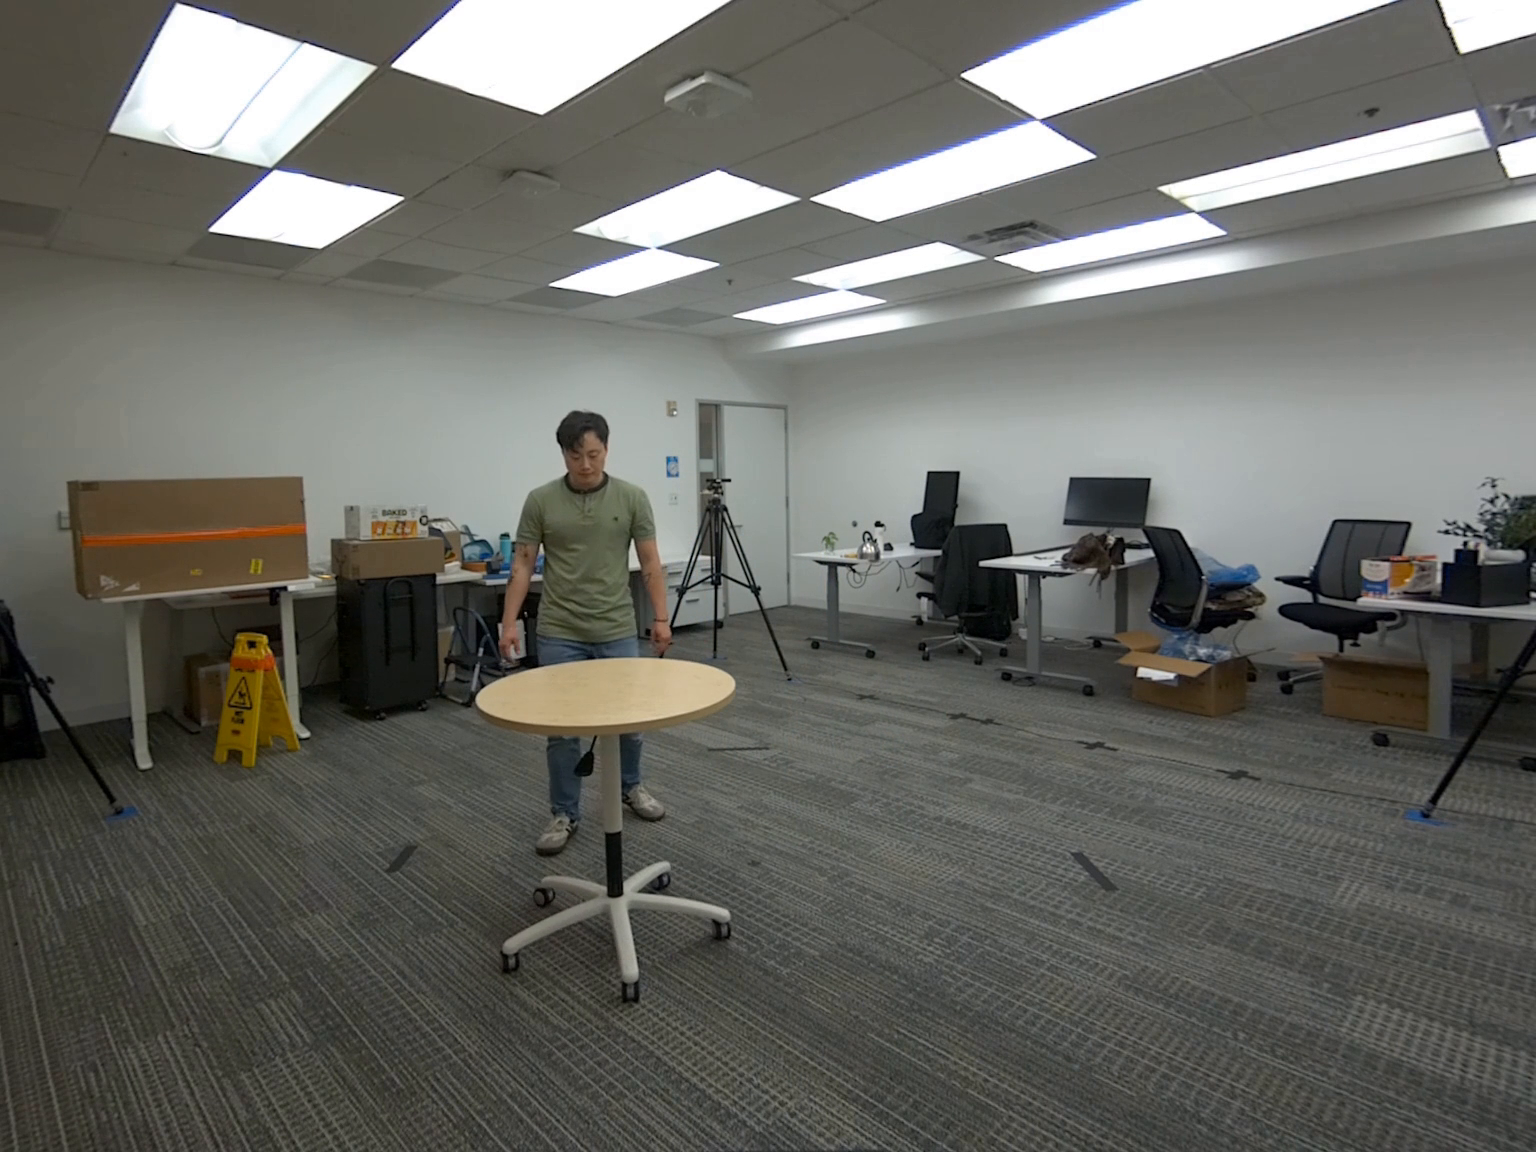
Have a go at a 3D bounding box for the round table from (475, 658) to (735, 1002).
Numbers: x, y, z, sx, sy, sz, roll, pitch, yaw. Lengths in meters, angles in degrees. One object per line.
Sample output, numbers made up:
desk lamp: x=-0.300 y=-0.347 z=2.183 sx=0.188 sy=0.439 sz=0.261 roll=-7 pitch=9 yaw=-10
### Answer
round table: x=-0.466 y=0.722 z=2.597 sx=0.763 sy=0.790 sz=0.768 roll=-1 pitch=6 yaw=-2
